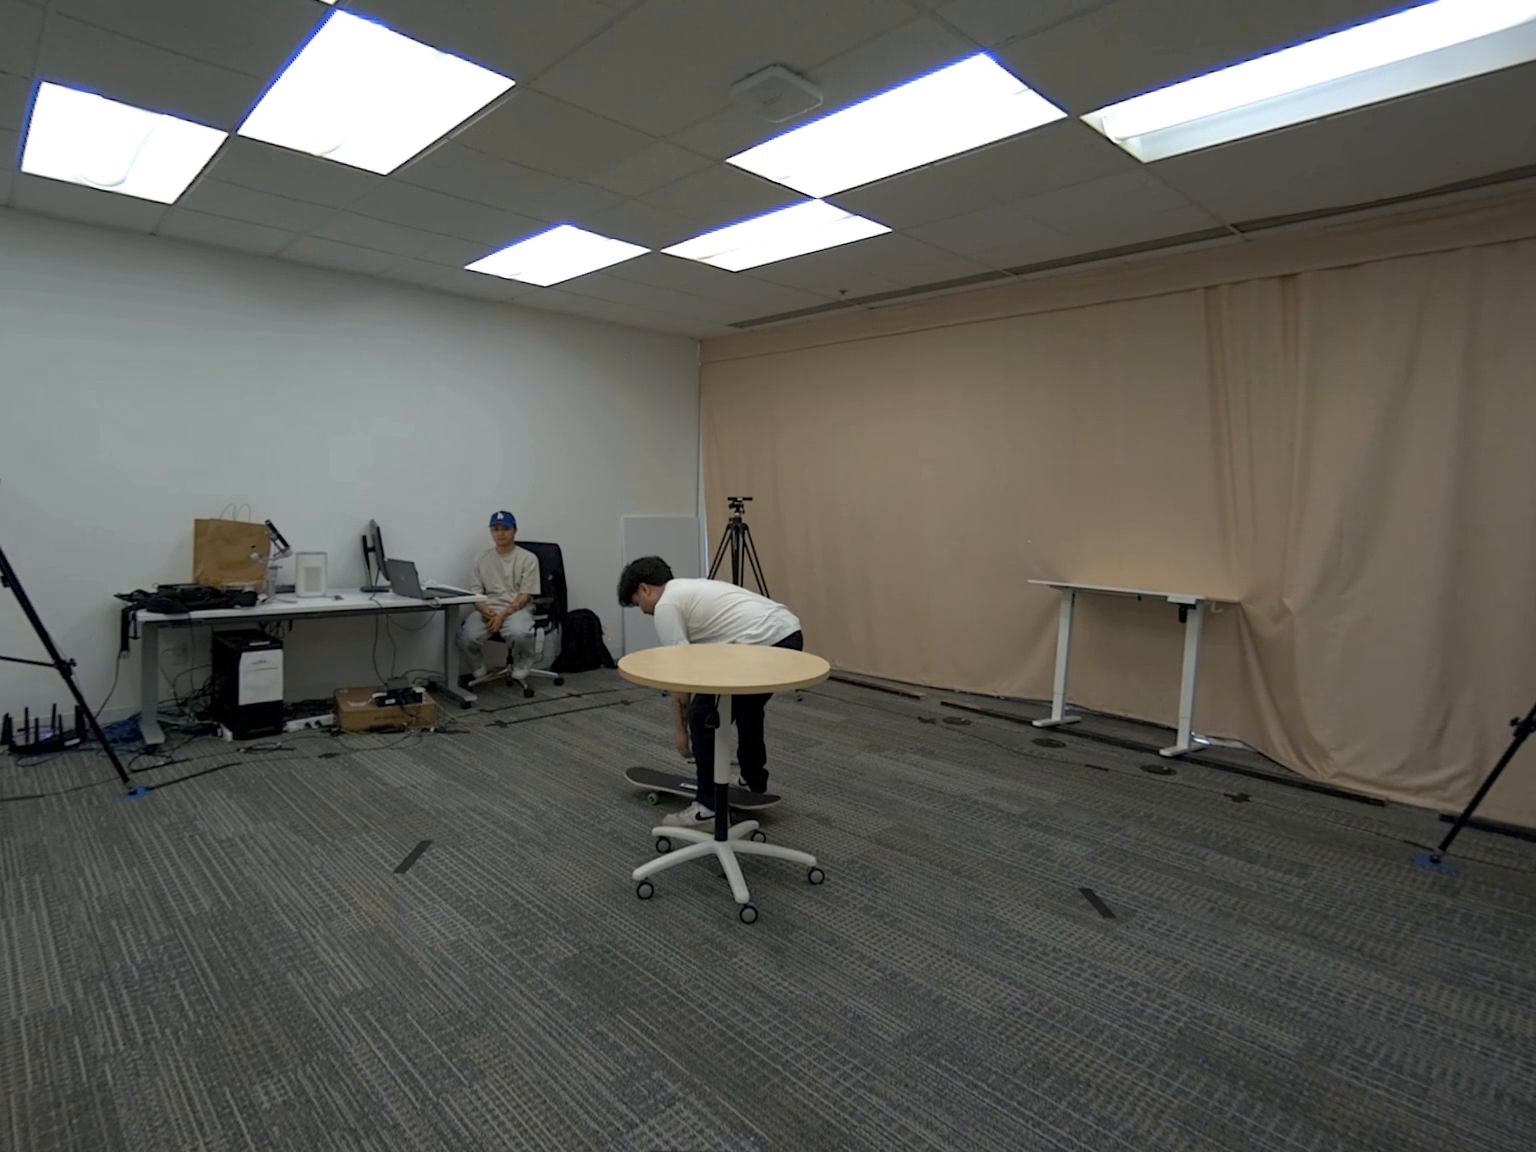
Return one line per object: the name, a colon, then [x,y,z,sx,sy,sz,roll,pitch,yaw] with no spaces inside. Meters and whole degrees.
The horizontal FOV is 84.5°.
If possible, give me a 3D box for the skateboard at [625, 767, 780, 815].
skateboard: [-0.319,0.992,3.801,0.802,0.110,0.190,4,5,27]
